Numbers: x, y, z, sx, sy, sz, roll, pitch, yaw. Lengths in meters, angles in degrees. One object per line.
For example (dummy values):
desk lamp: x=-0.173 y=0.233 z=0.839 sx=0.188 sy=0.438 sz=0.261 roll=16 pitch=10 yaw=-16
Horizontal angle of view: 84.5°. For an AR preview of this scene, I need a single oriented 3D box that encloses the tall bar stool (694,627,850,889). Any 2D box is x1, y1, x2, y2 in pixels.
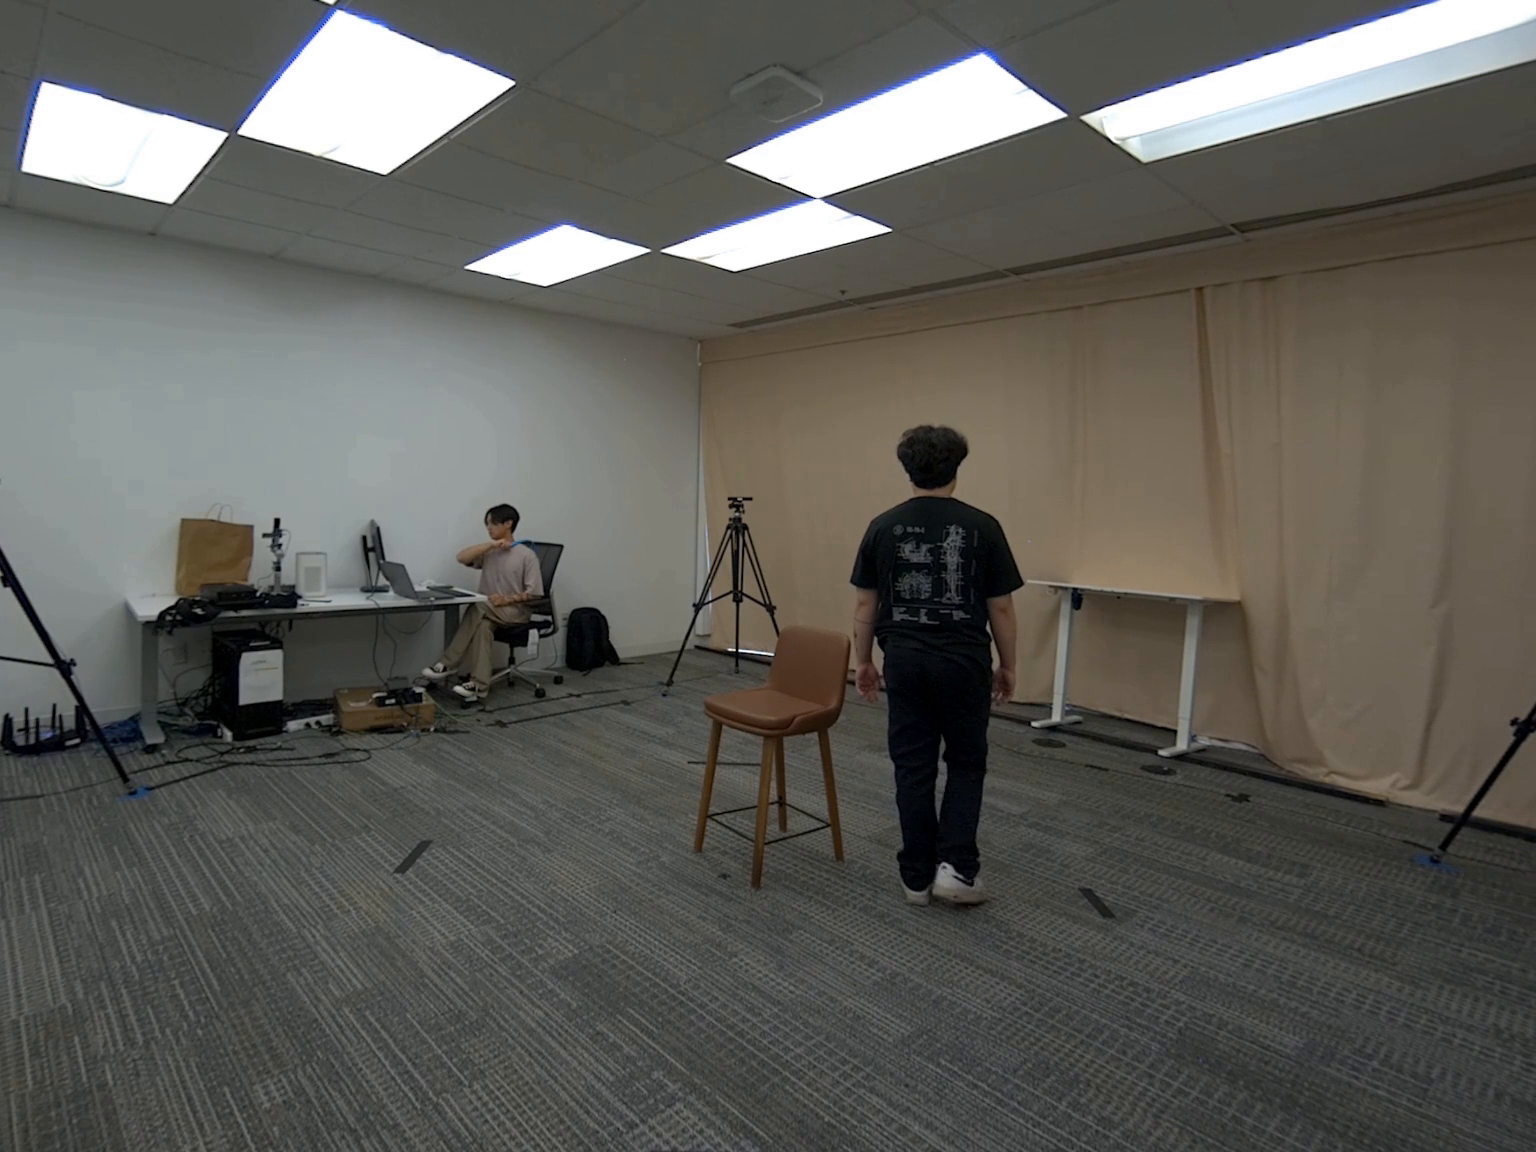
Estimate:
tall bar stool: x=0.013 y=0.664 z=3.277 sx=0.457 sy=0.888 sz=0.468 roll=1 pitch=3 yaw=-36
